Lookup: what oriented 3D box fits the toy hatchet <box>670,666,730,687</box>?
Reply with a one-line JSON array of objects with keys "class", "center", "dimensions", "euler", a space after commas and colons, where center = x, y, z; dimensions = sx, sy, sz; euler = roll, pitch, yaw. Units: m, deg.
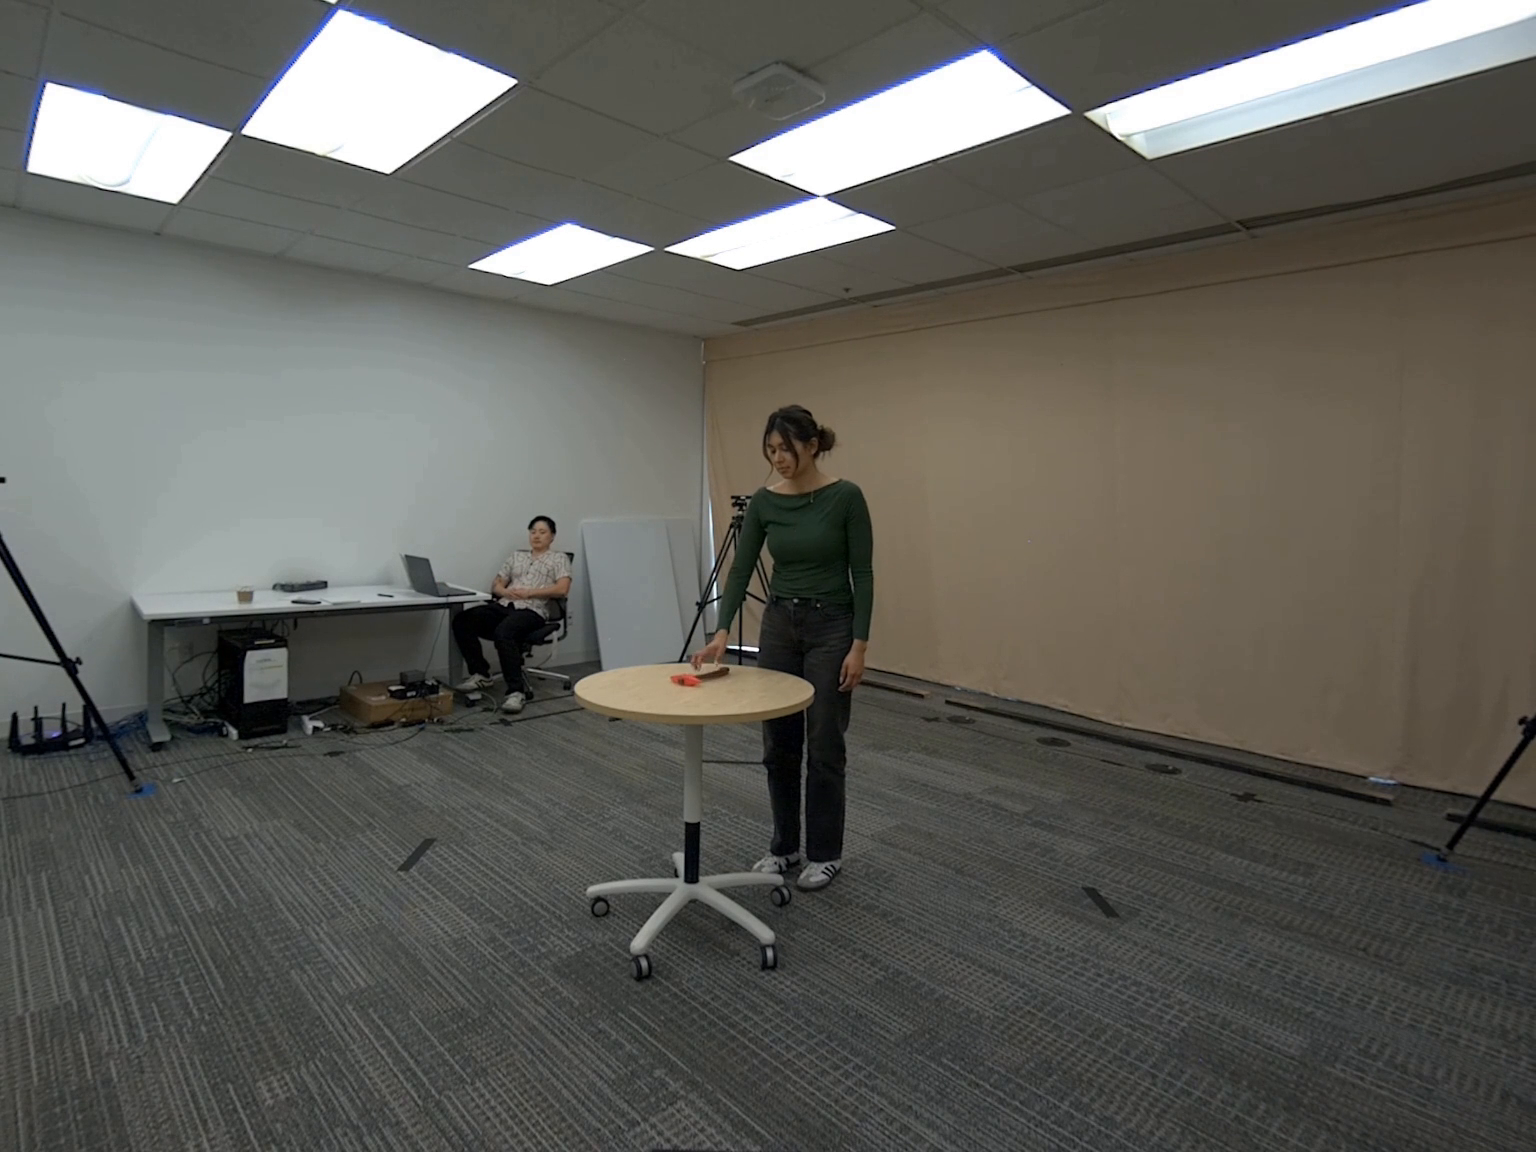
[{"class": "toy hatchet", "center": [-0.240, 0.335, 2.824], "dimensions": [0.133, 0.029, 0.266], "euler": [-2, 2, 18]}]
